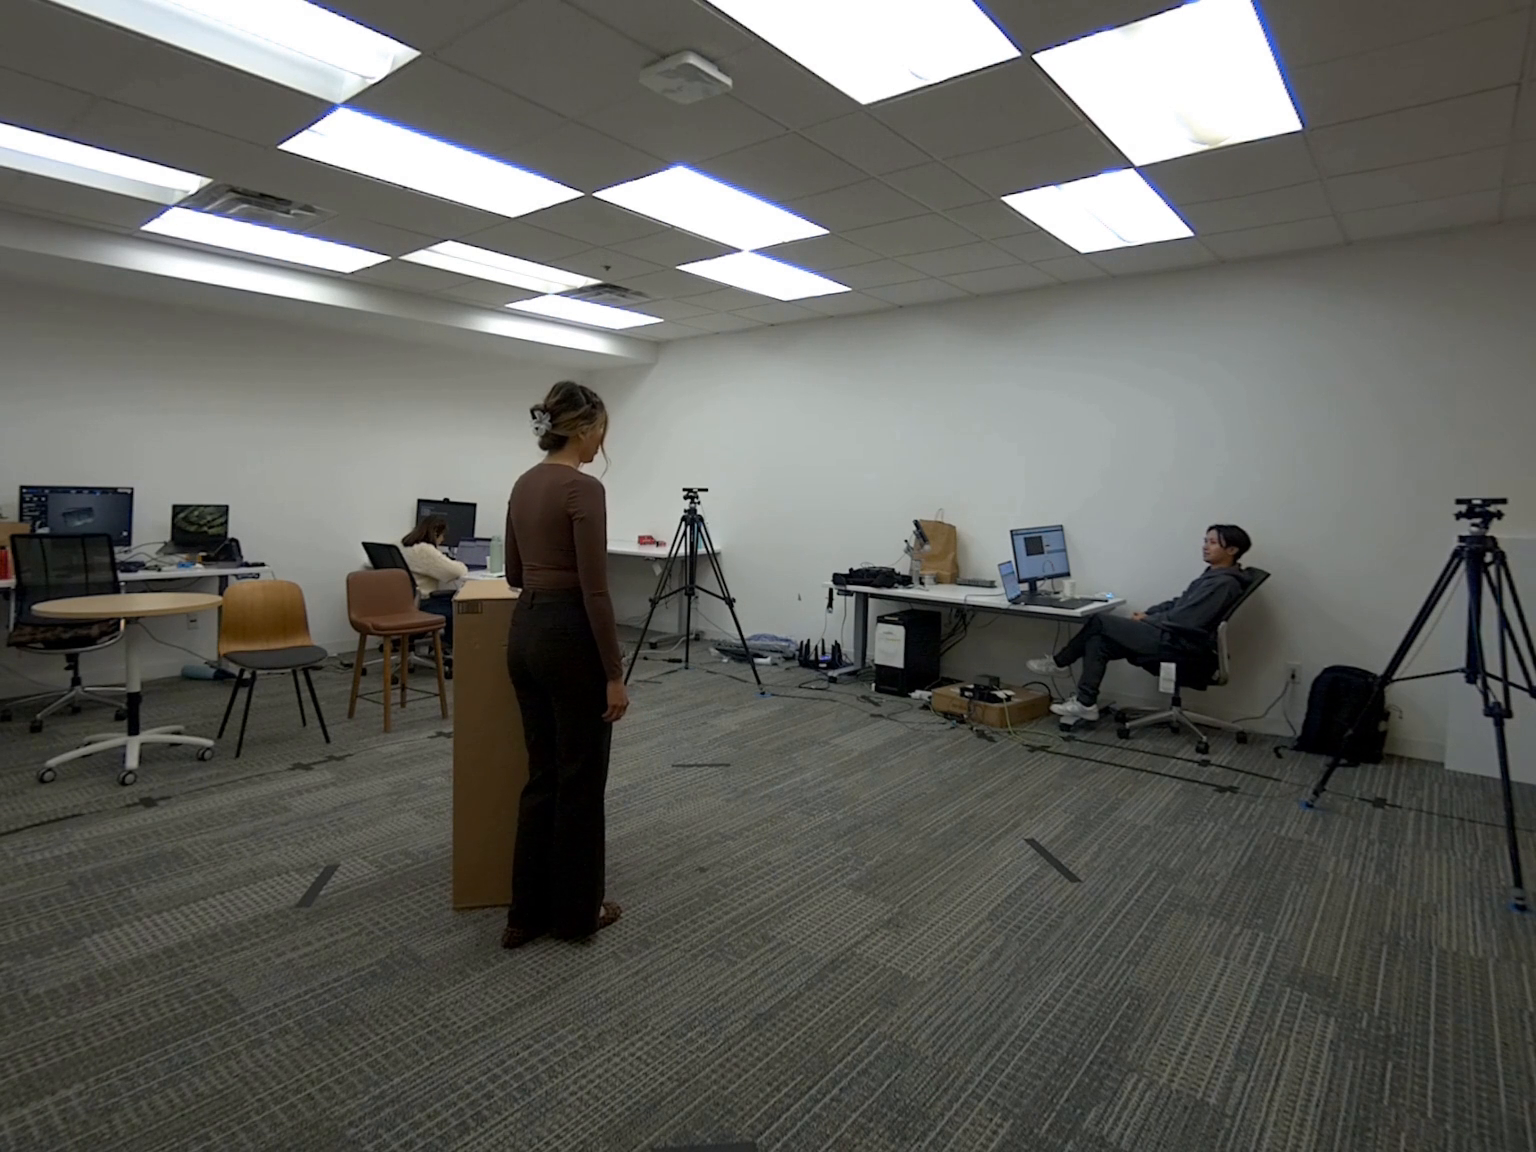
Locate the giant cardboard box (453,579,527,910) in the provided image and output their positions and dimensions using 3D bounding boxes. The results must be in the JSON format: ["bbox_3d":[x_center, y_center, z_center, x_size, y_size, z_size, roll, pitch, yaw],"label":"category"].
[{"bbox_3d":[-0.910,0.553,3.079,0.440,1.024,0.594,0,3,-15],"label":"giant cardboard box"}]
